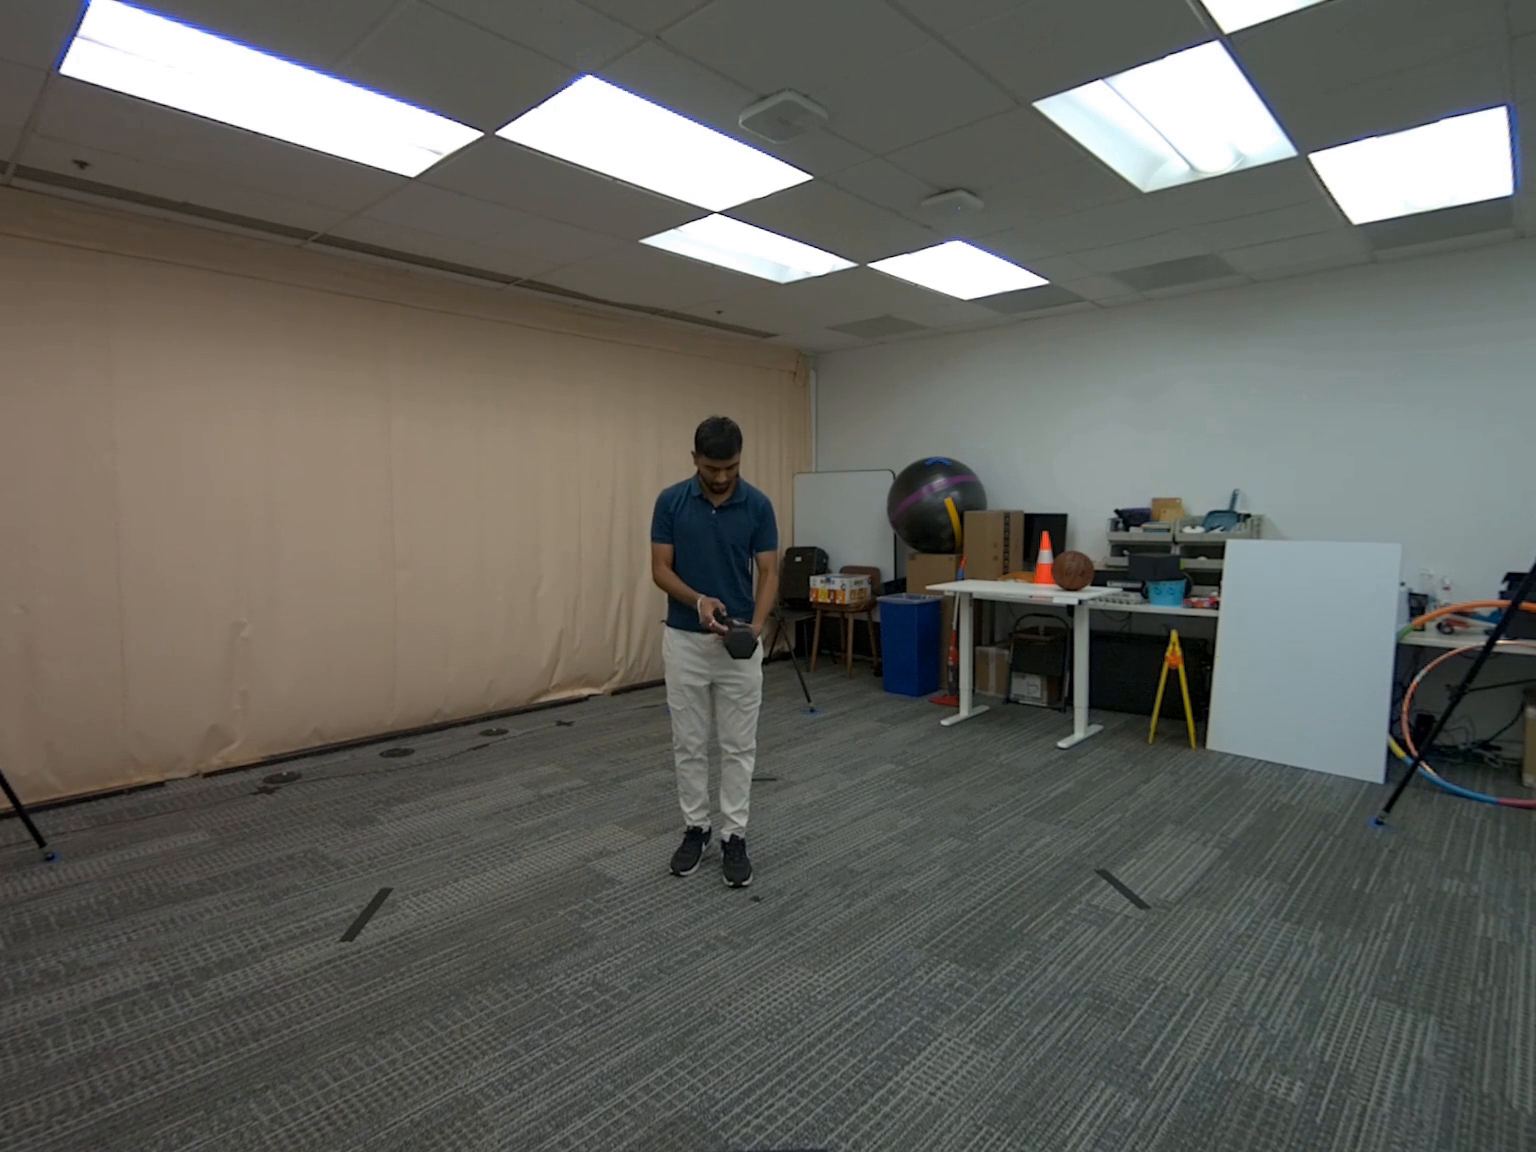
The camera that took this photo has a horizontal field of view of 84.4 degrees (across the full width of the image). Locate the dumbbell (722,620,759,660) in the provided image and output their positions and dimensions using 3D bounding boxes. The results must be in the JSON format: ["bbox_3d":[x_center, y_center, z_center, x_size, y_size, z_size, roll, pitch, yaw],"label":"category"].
[{"bbox_3d":[-0.108,0.224,2.982,0.108,0.123,0.295,25,0,-6],"label":"dumbbell"}]
